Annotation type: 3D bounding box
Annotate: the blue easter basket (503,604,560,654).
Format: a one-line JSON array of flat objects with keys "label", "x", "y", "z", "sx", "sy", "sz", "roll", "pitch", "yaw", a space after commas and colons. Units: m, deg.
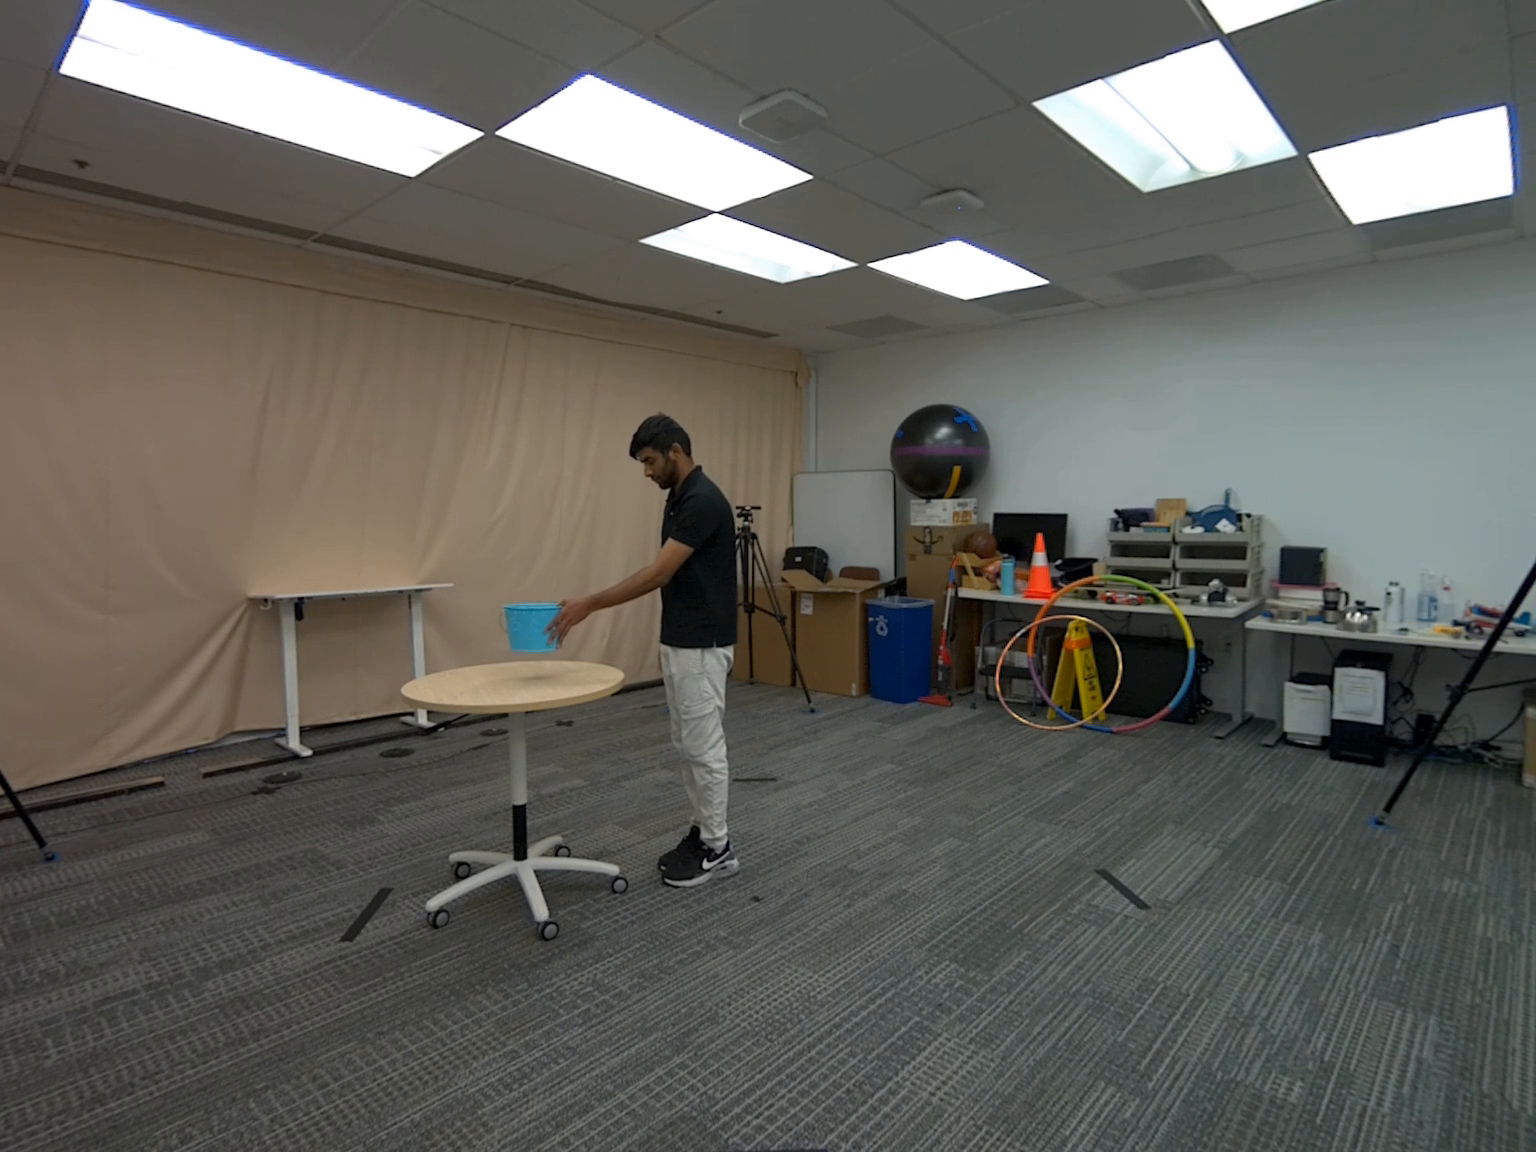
[{"label": "blue easter basket", "x": -0.821, "y": 0.183, "z": 2.982, "sx": 0.243, "sy": 0.155, "sz": 0.244, "roll": 1, "pitch": 5, "yaw": -2}]
